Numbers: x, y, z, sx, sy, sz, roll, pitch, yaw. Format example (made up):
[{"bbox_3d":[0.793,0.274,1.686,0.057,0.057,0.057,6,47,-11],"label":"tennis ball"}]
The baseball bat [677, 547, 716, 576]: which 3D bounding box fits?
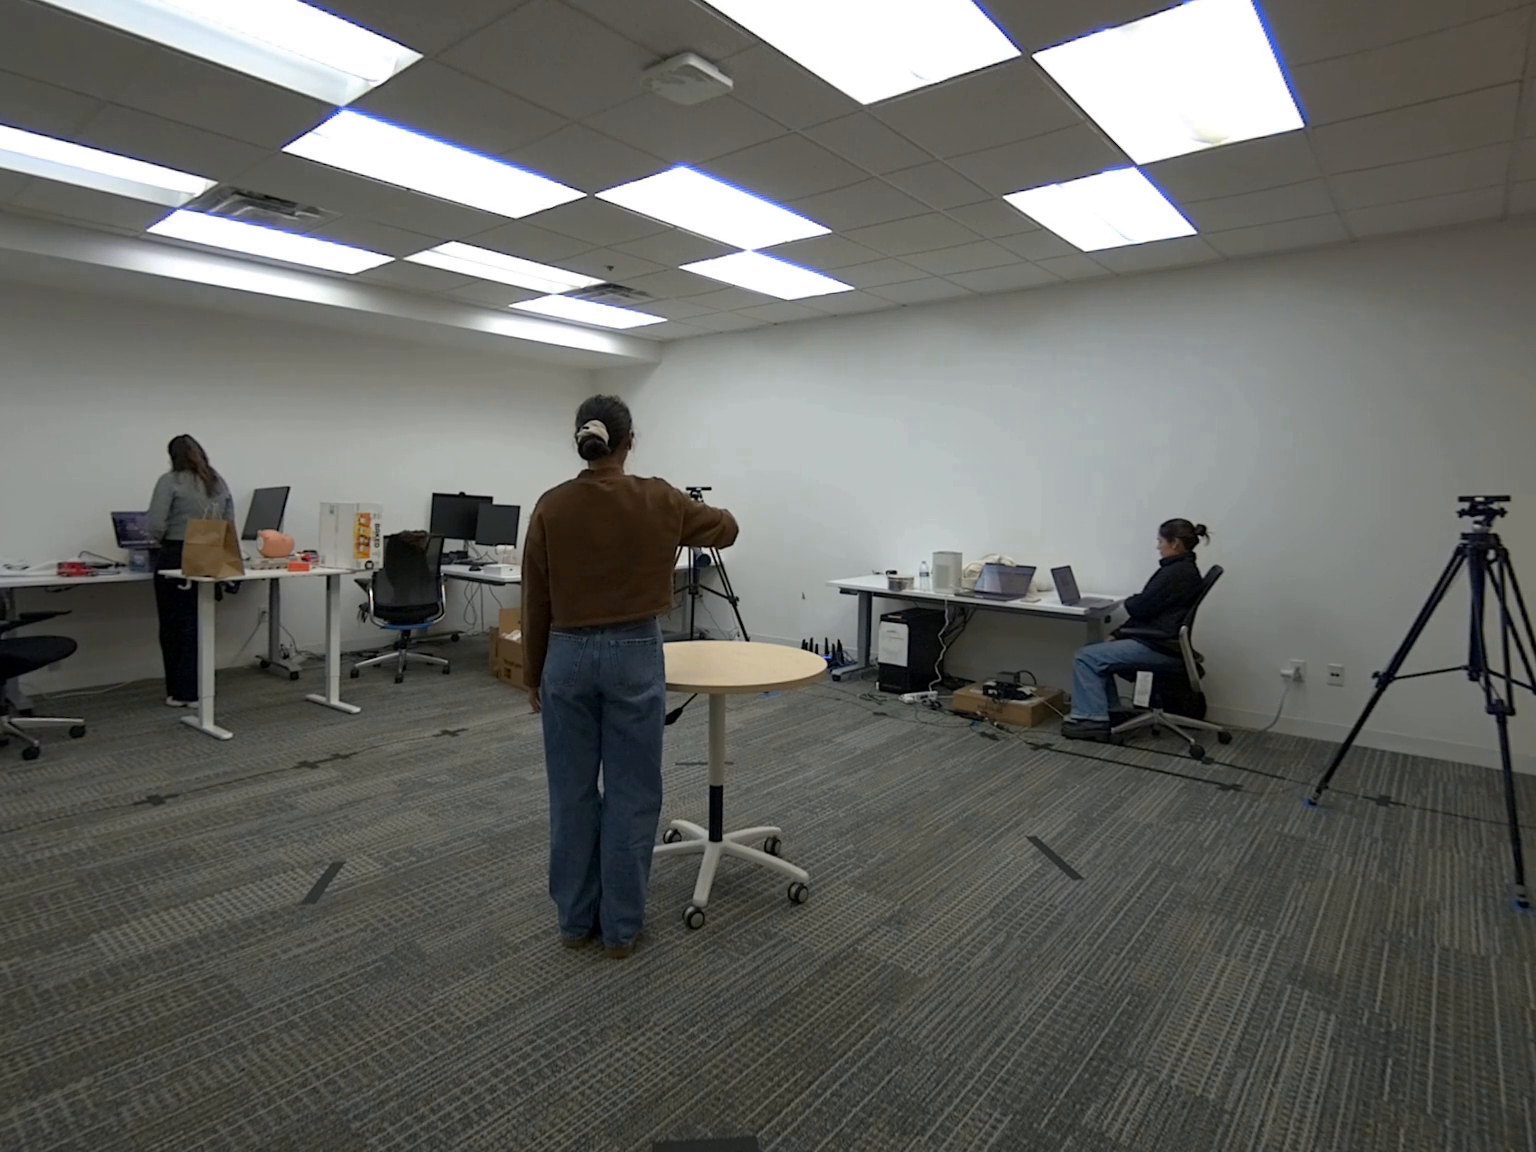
[{"bbox_3d":[-0.295,-0.151,2.898,0.087,0.087,0.561,-1,22,-18],"label":"baseball bat"}]
